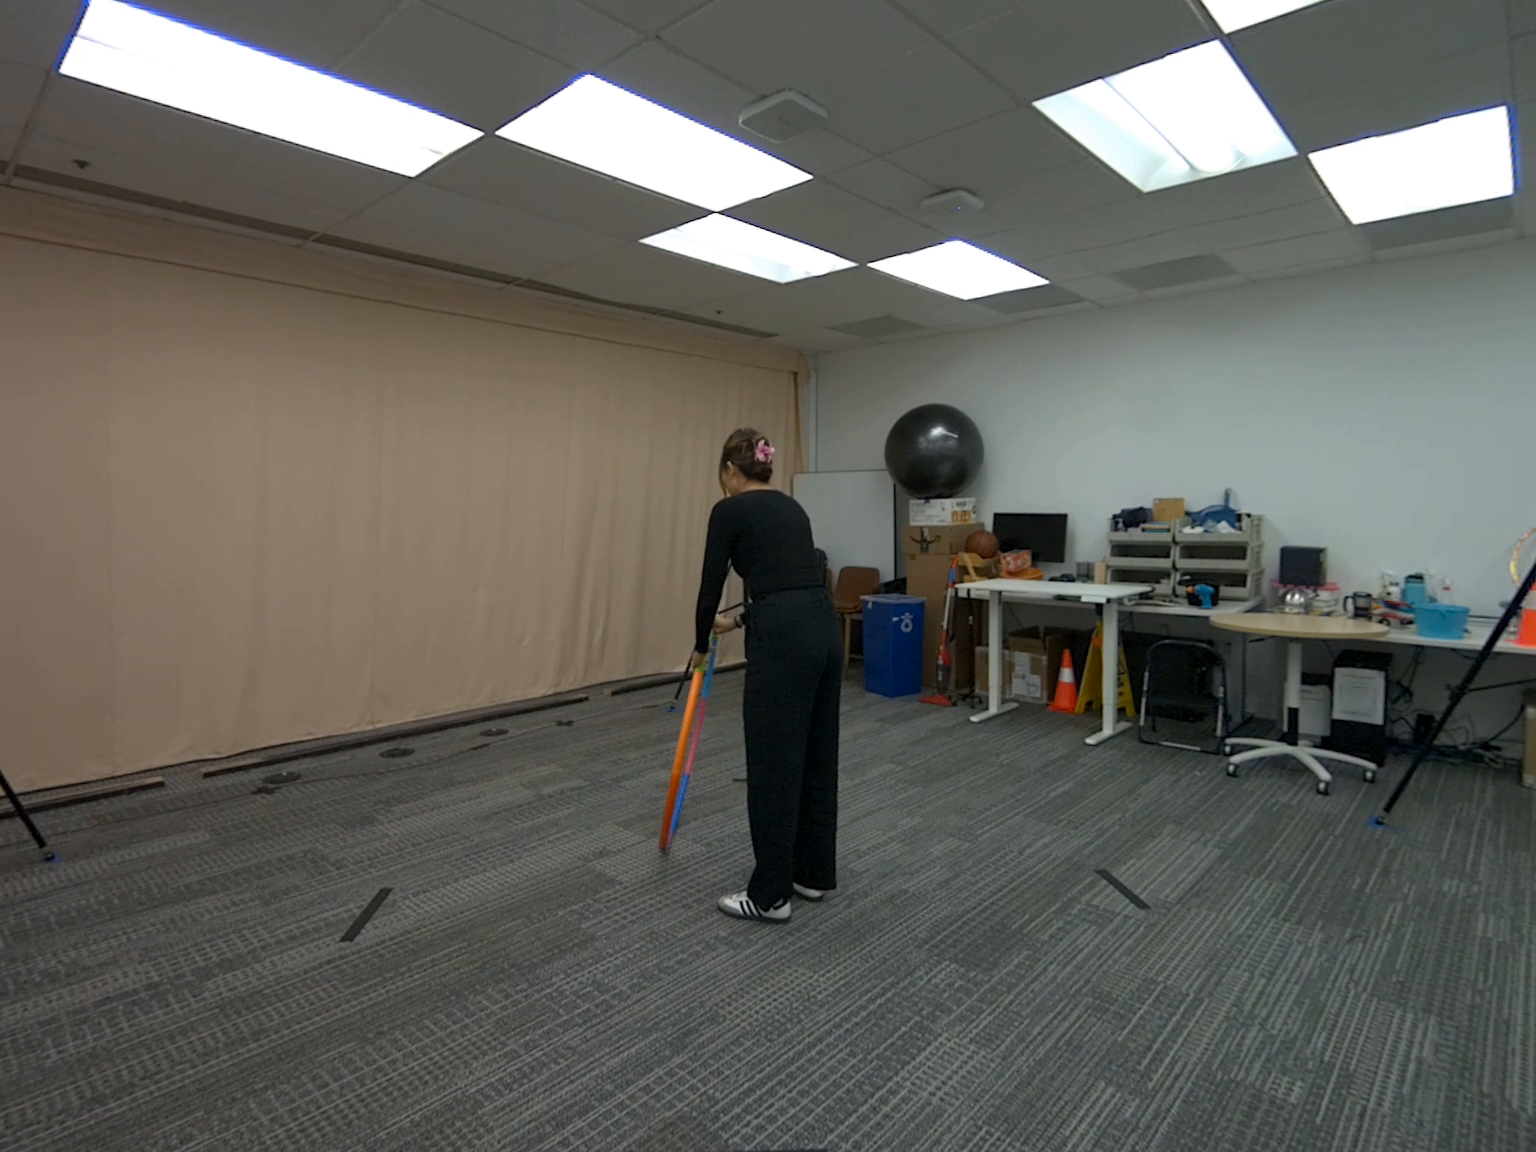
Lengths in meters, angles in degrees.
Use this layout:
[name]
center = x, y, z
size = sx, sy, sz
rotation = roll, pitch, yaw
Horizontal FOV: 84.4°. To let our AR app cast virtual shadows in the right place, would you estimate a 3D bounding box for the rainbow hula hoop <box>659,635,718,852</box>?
[rainbow hula hoop]
center = -0.311, 0.637, 3.465
size = 0.035, 0.977, 0.978
rotation = 12, 4, -1
